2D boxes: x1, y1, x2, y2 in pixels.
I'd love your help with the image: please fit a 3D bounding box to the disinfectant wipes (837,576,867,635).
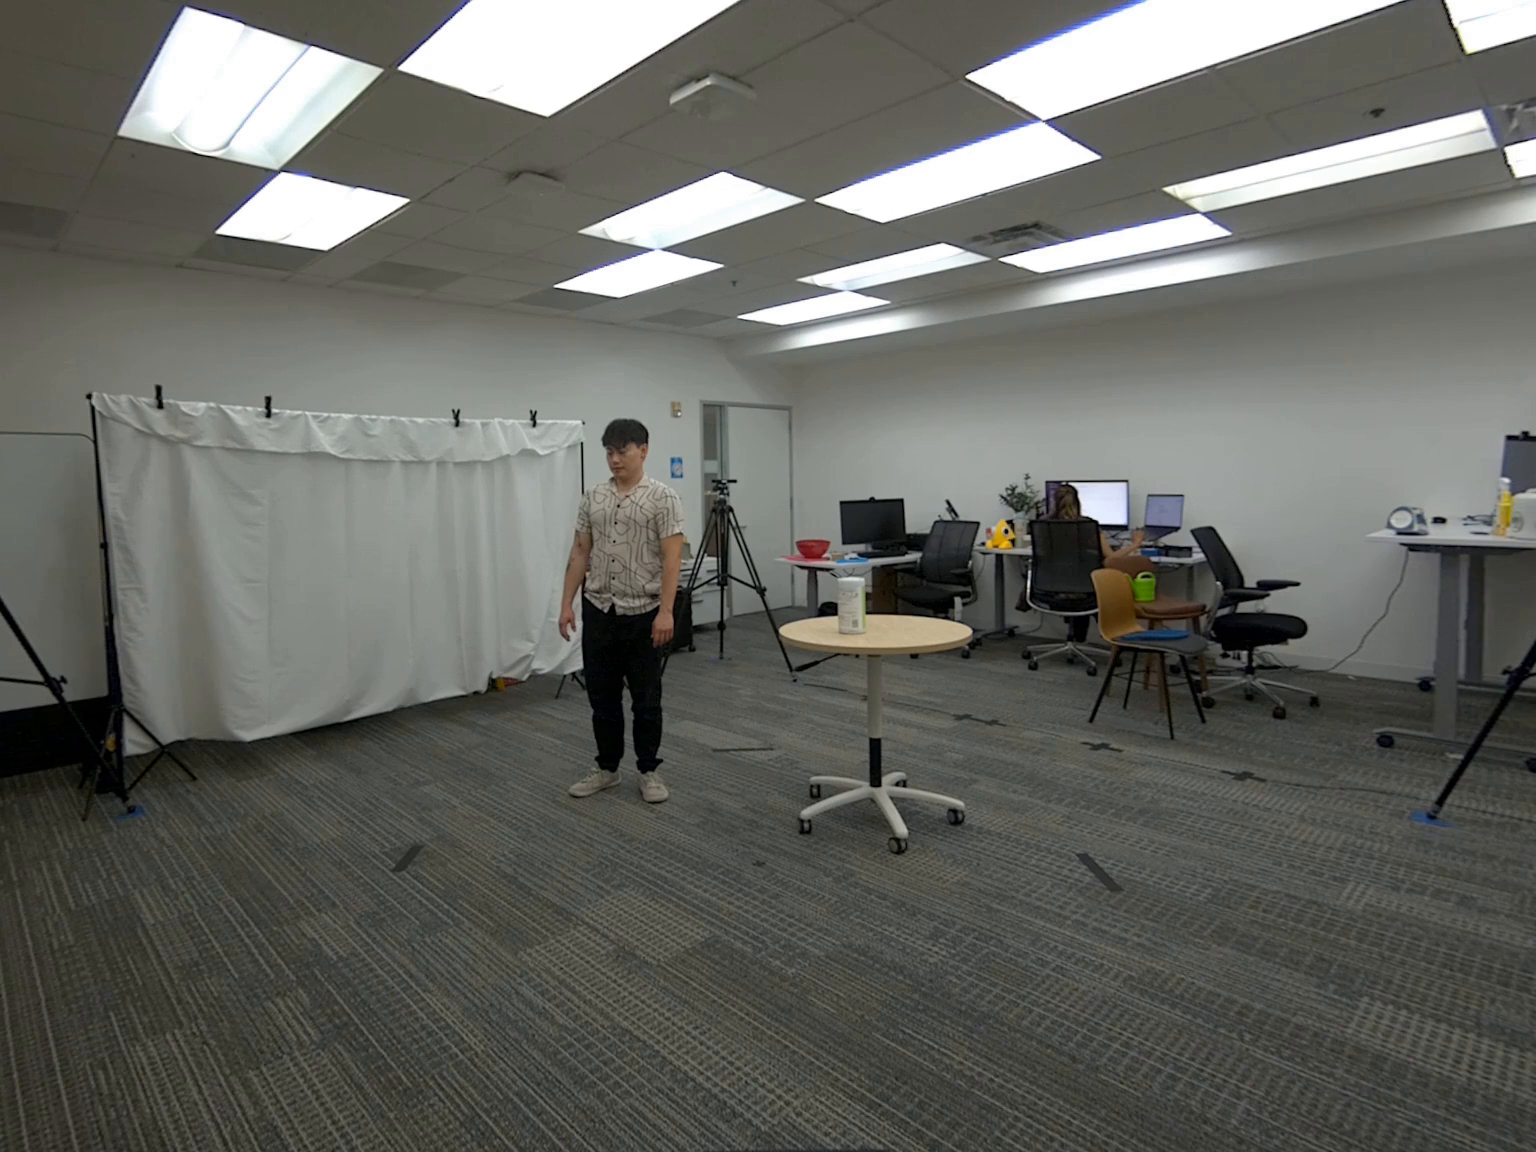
[{"bbox_3d":[0.337,0.118,3.394,0.118,0.217,0.118,-1,3,-2],"label":"disinfectant wipes"}]
